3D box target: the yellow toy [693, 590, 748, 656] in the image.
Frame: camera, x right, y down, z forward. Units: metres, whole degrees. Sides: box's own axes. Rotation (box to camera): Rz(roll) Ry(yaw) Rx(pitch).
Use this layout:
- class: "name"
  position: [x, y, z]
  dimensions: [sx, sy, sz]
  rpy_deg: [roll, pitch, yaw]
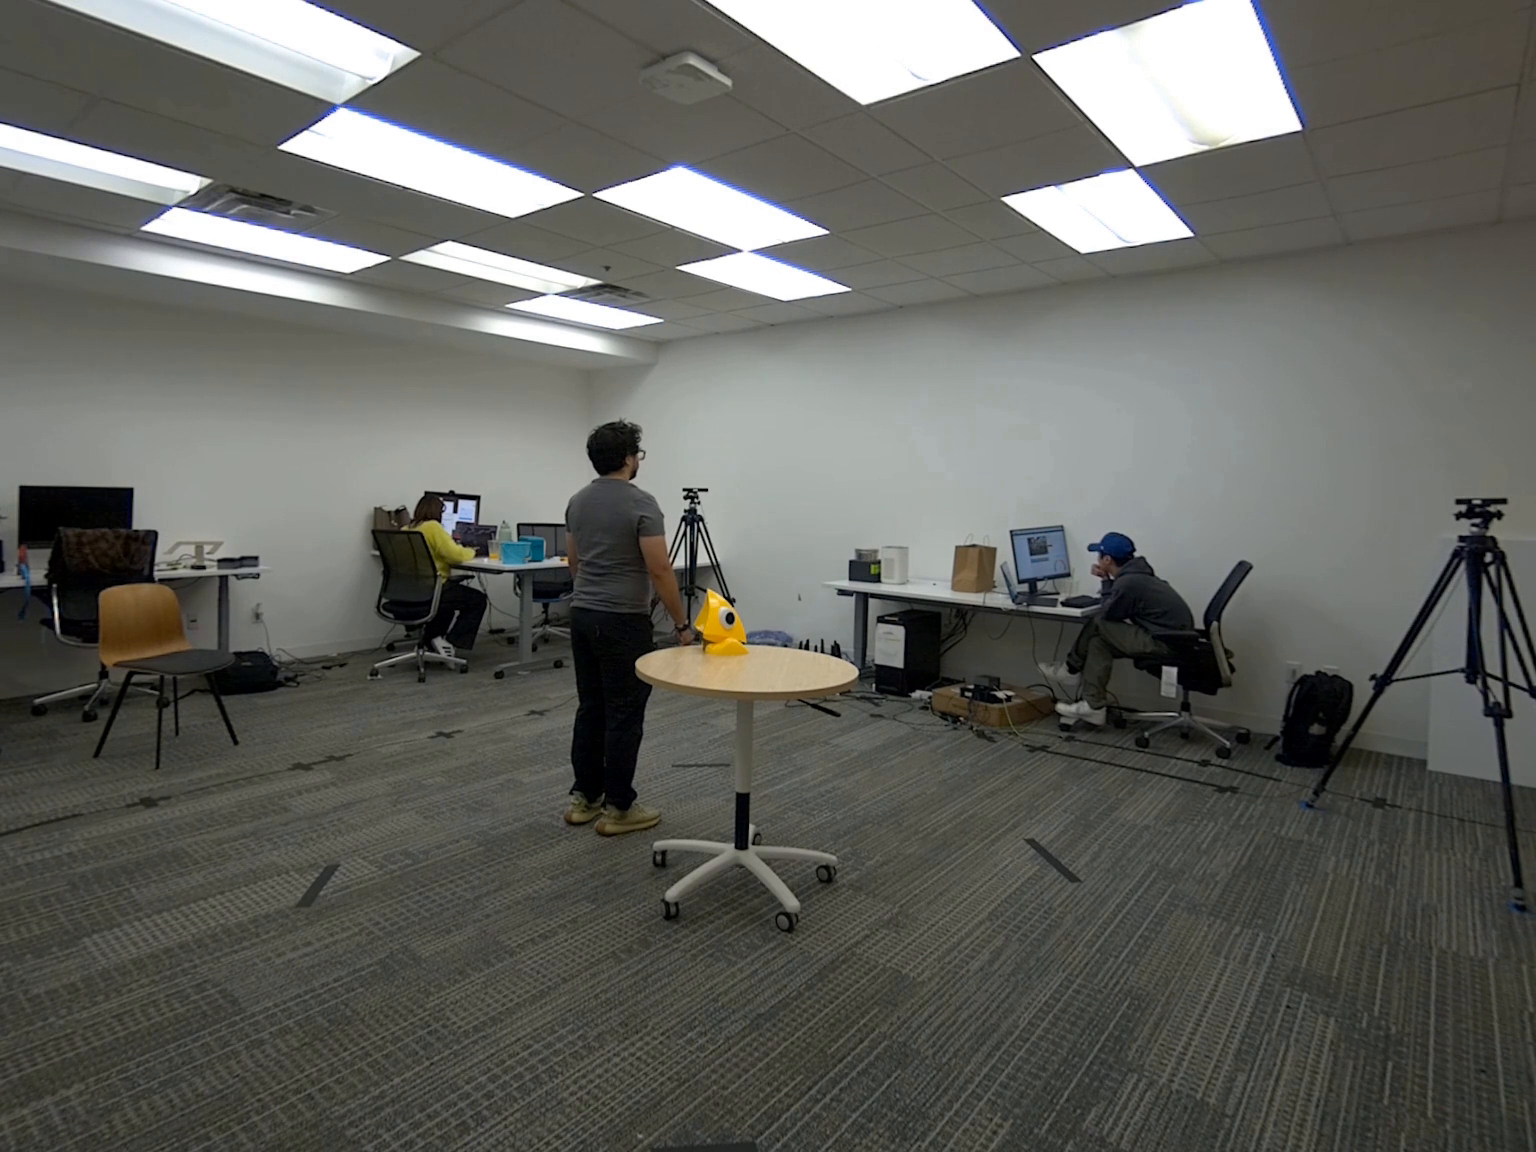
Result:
- class: "yellow toy"
  position: [-0.178, 0.161, 3.200]
  dimensions: [0.190, 0.230, 0.209]
  rpy_deg: [1, 4, -15]
